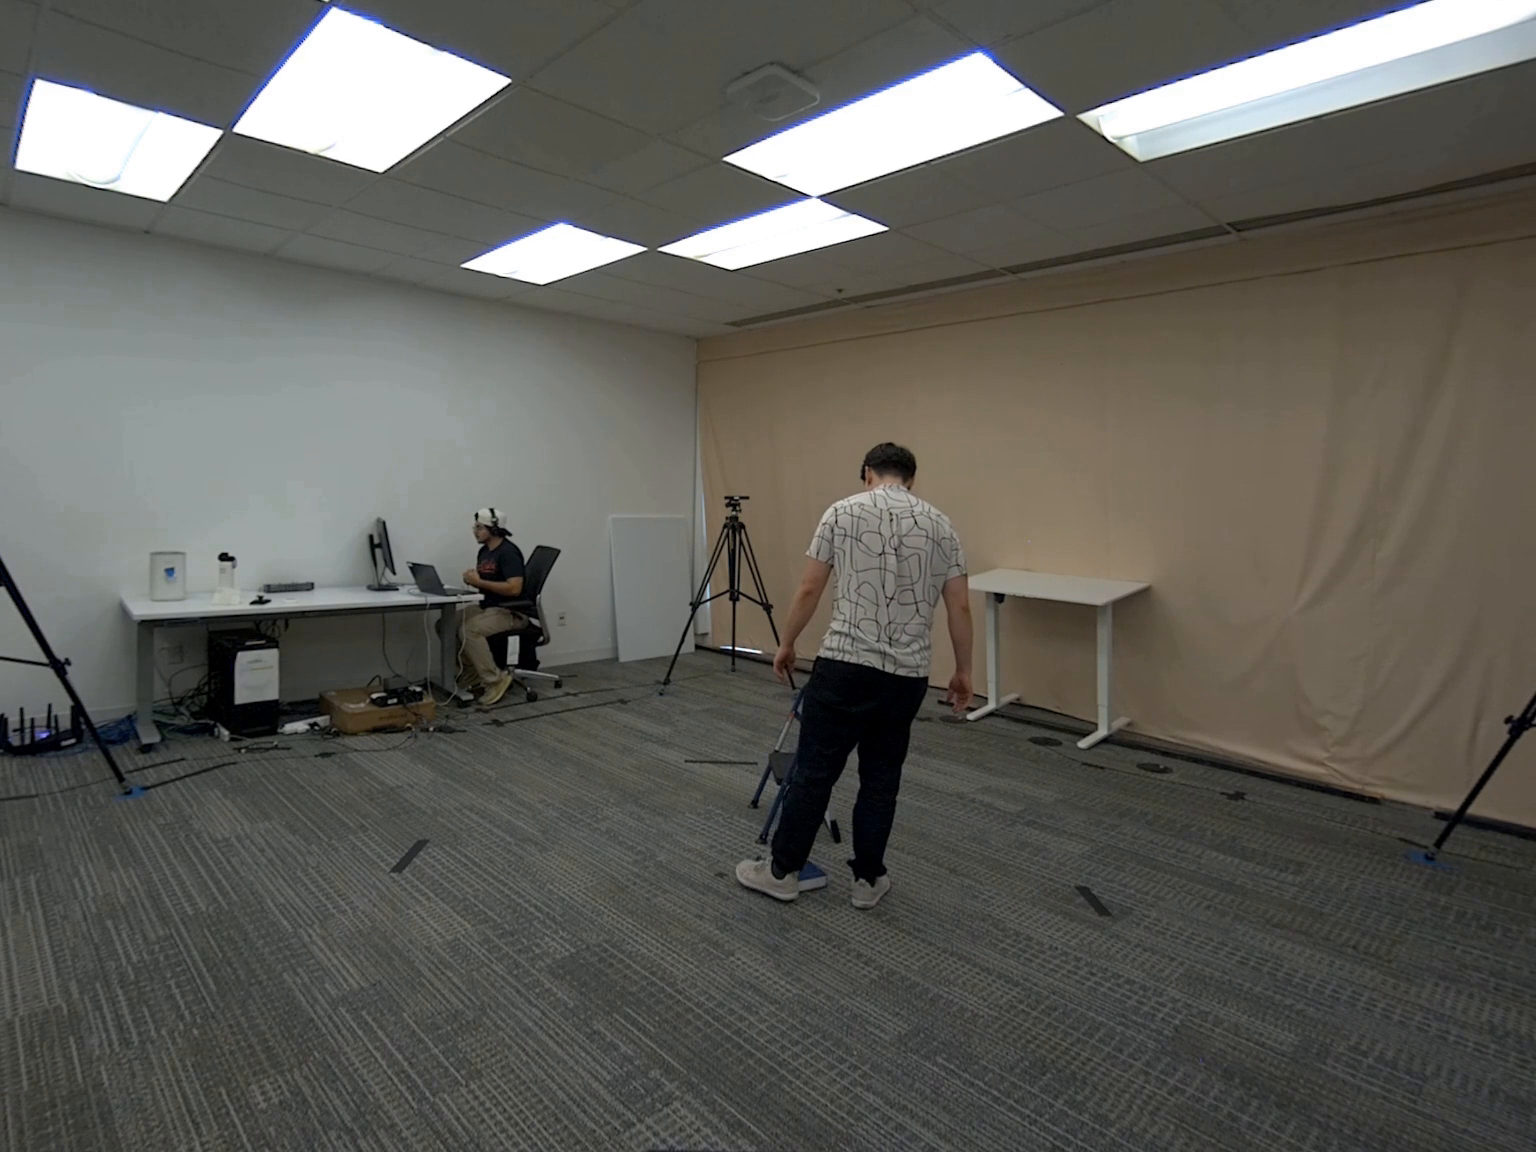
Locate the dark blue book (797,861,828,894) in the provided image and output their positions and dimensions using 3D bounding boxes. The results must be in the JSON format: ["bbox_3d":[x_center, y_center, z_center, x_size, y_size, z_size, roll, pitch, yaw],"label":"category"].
[{"bbox_3d":[0.080,1.087,3.090,0.160,0.045,0.250,-1,5,-27],"label":"dark blue book"}]
